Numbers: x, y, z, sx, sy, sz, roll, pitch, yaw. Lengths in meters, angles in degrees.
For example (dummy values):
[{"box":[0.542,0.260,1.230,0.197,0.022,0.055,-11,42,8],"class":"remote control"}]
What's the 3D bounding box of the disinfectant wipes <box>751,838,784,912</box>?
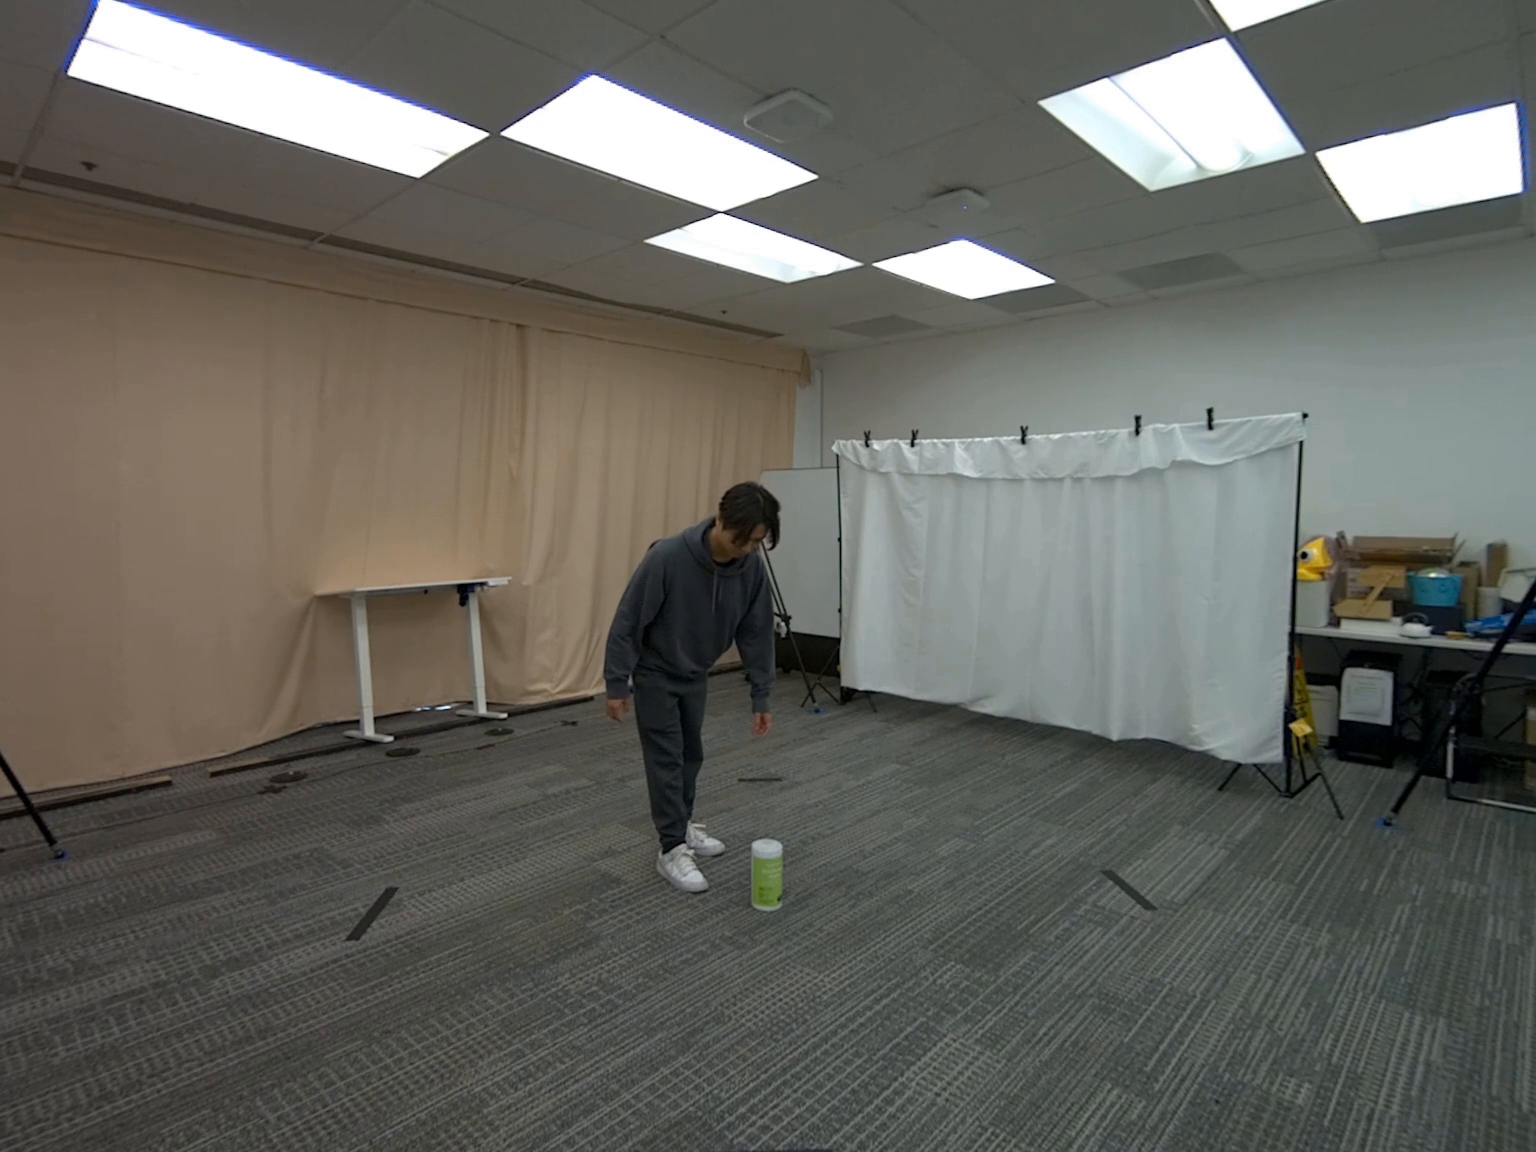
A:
[{"box":[-0.005,1.041,2.935,0.118,0.217,0.118,0,4,-2],"class":"disinfectant wipes"}]
